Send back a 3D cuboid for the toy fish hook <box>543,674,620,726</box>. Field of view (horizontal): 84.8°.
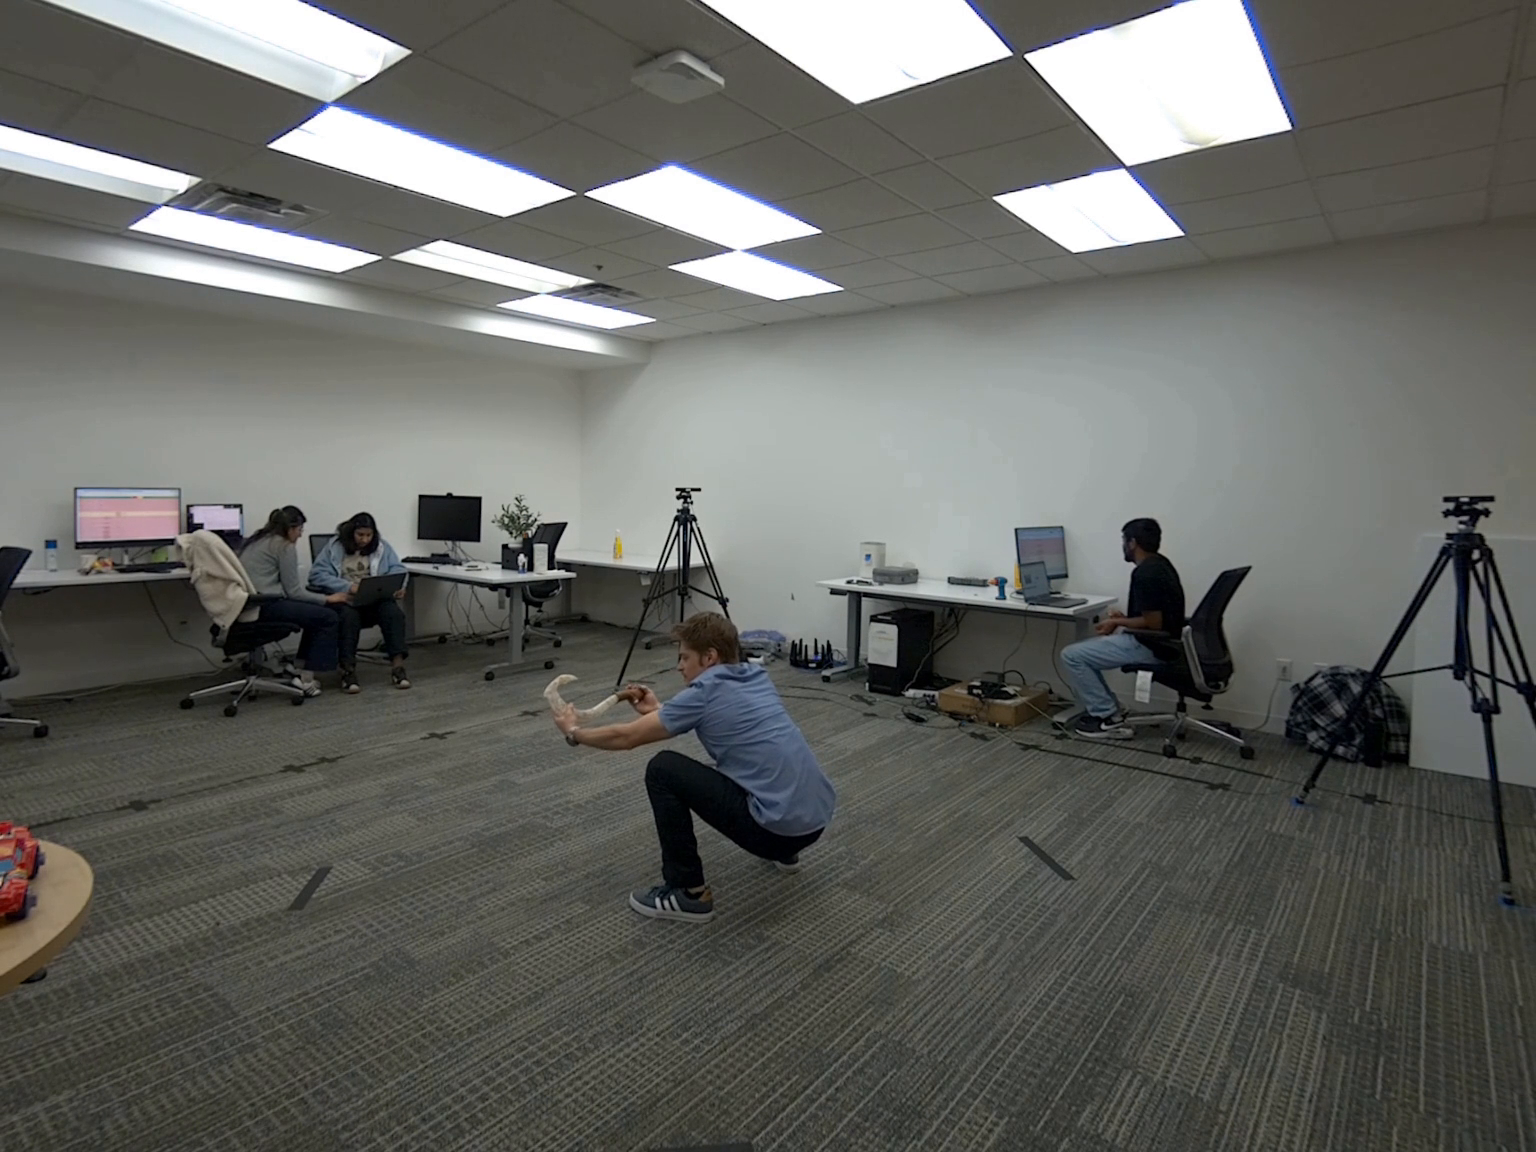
[{"bbox_3d":[-0.668,0.454,3.317,0.231,0.048,0.493,48,26,20],"label":"toy fish hook"}]
